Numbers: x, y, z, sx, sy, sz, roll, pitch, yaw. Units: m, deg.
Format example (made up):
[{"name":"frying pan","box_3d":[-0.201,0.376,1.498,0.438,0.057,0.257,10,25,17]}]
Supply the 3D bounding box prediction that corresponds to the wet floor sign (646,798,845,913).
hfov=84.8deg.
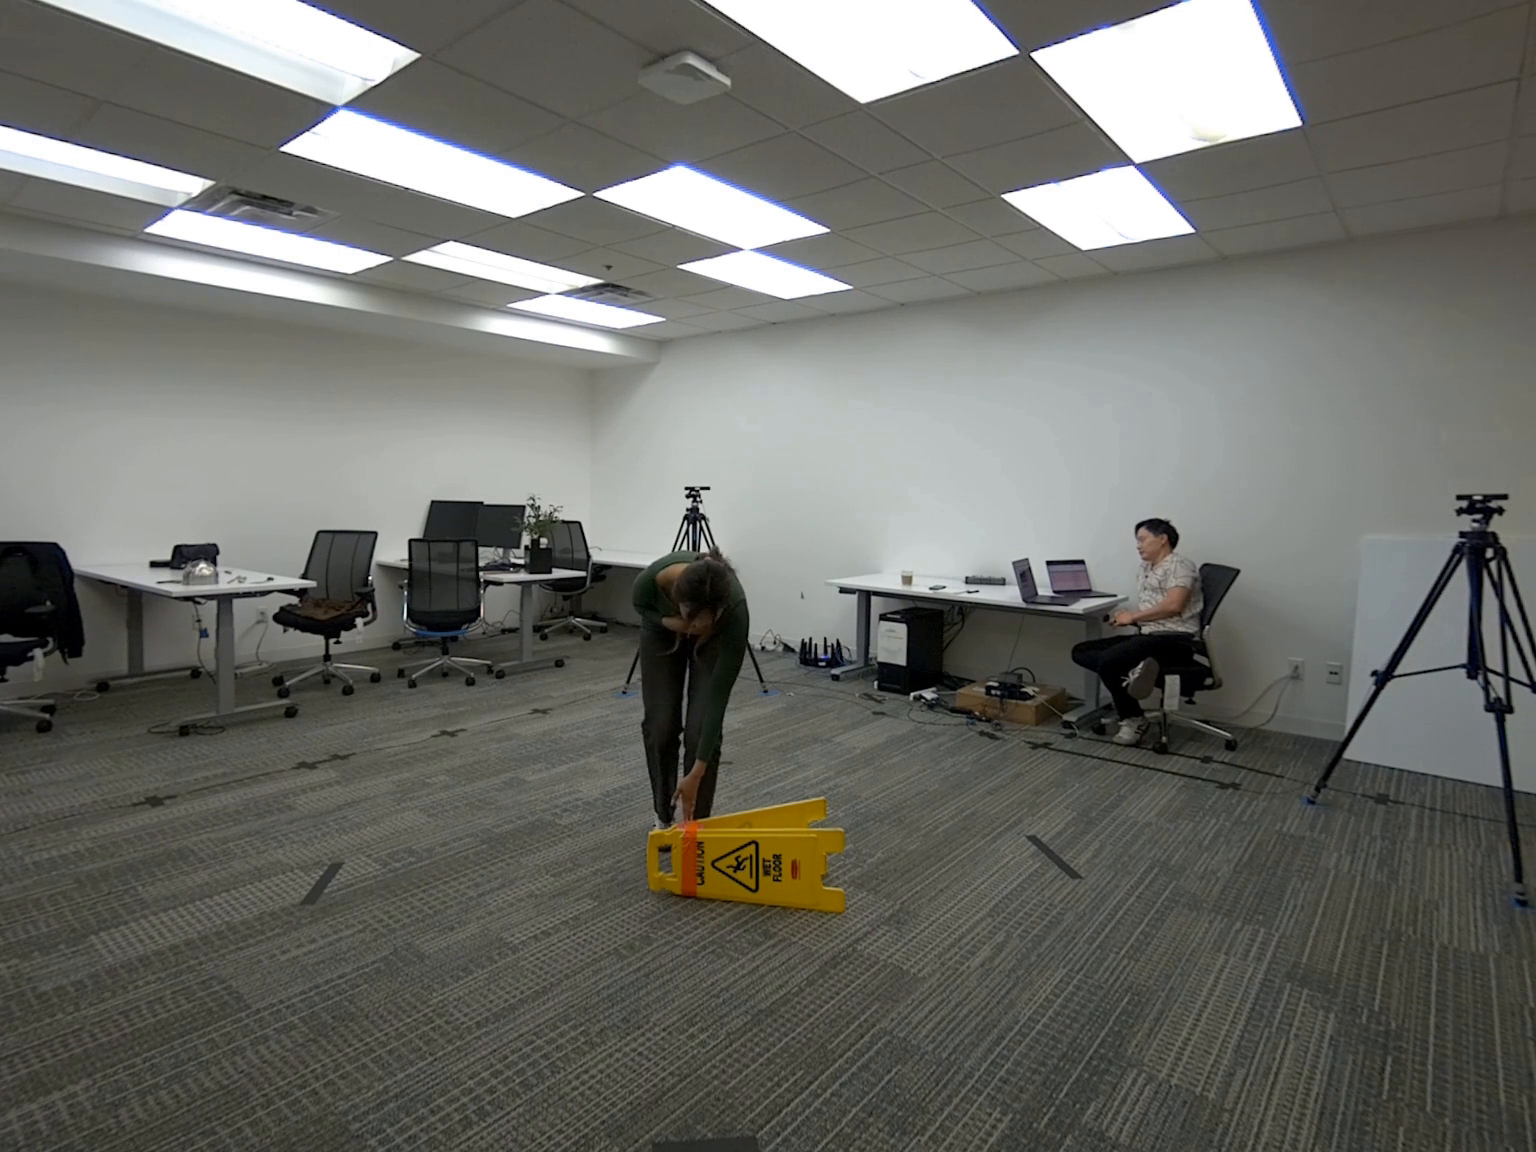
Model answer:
[{"name":"wet floor sign","box_3d":[-0.100,0.954,2.908,0.643,0.281,0.292,-2,5,-5]}]
